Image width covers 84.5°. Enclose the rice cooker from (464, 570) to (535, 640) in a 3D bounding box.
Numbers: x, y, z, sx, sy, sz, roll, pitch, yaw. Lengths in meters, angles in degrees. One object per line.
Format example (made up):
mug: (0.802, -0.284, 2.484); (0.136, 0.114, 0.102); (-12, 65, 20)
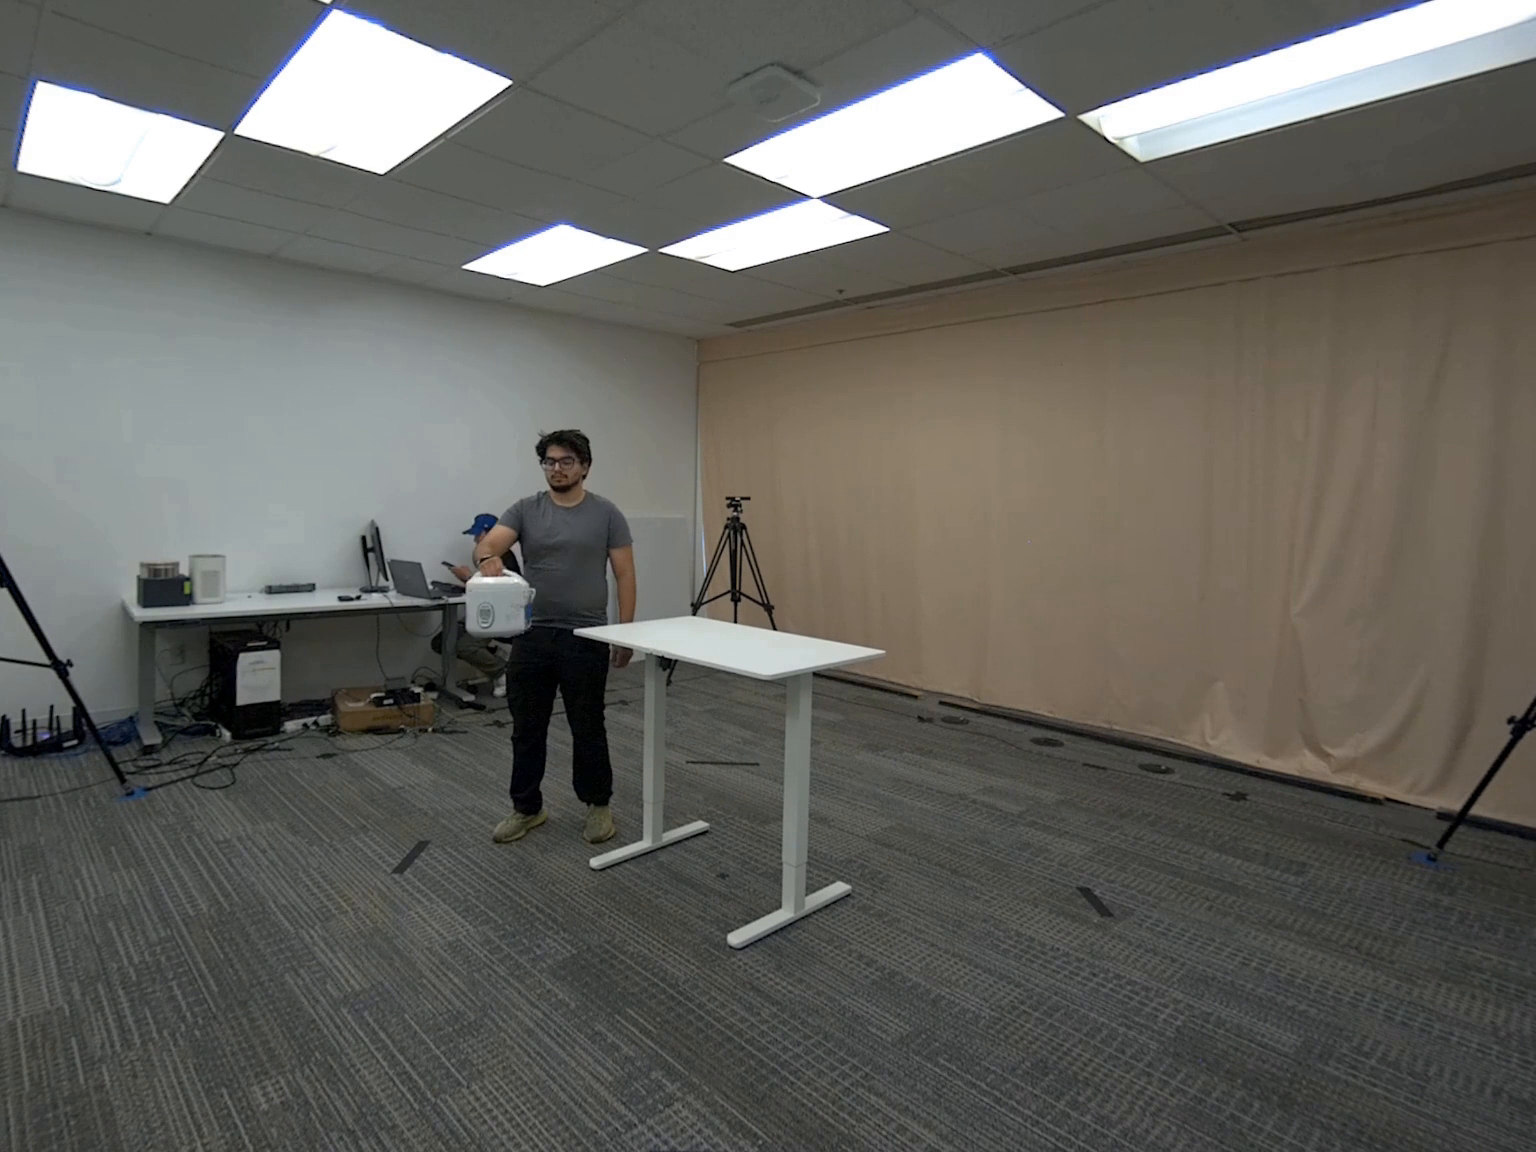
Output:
rice cooker: (-0.967, 0.095, 2.962); (0.221, 0.233, 0.216); (0, 0, 4)
